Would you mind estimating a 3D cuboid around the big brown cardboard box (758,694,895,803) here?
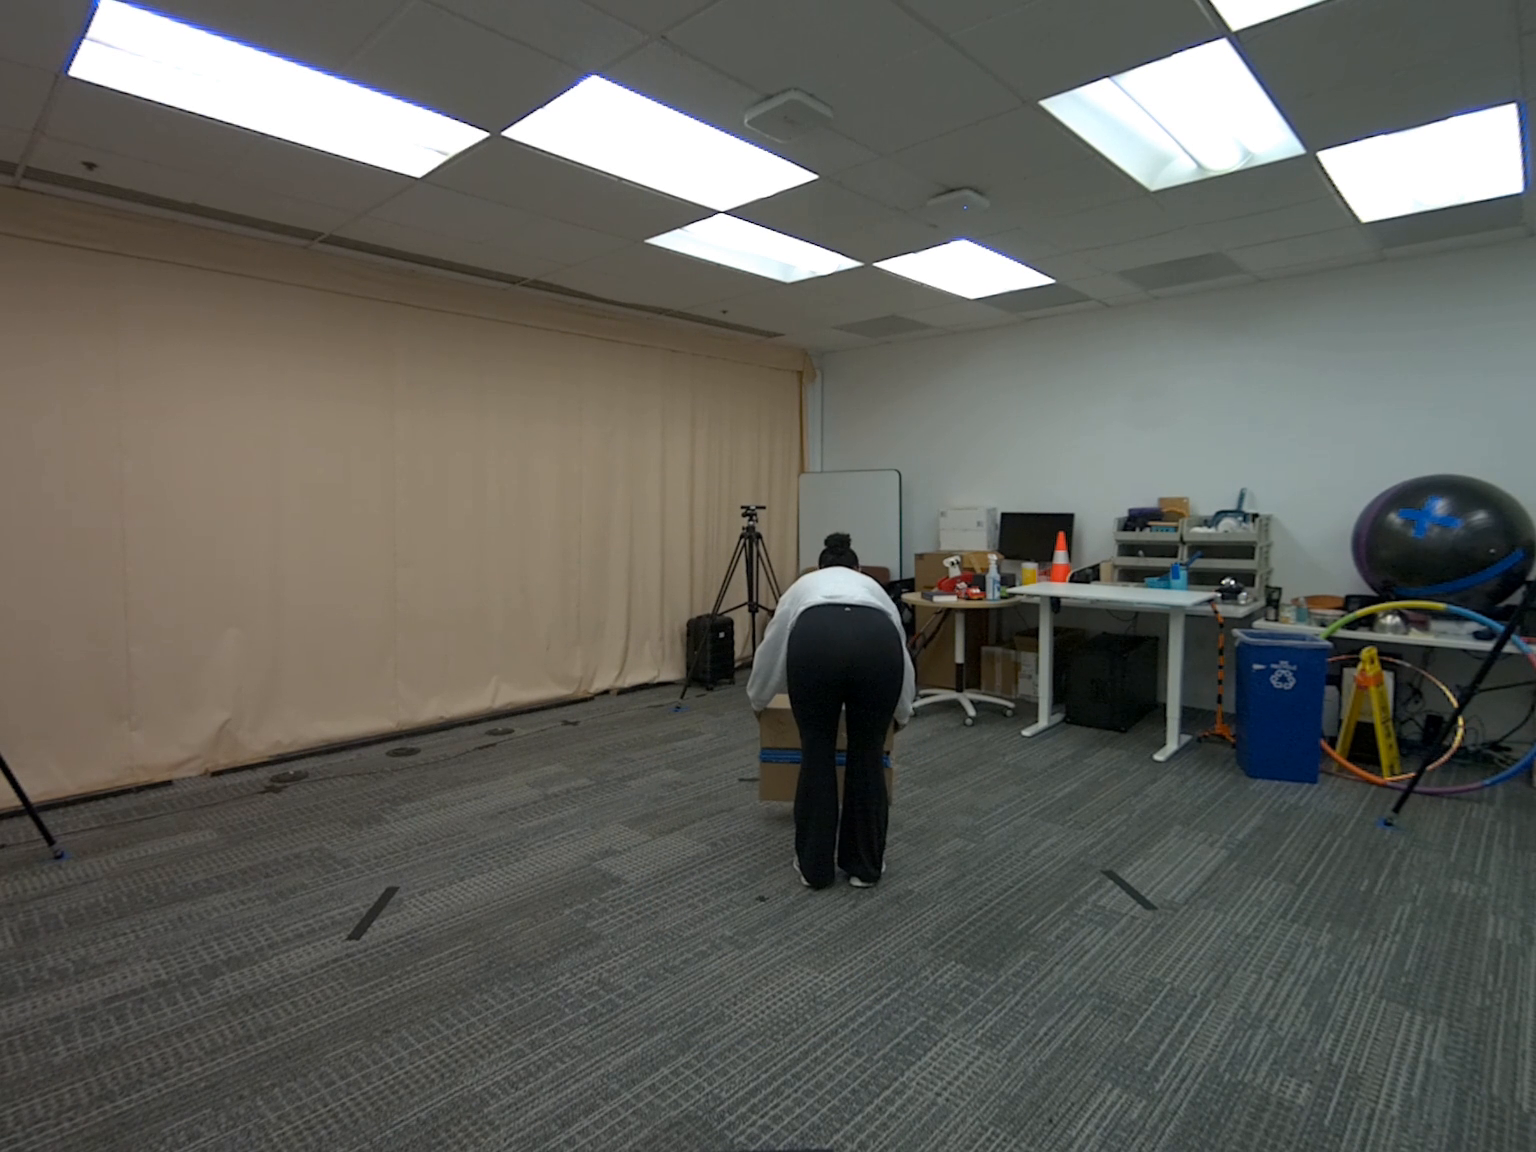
[{"bbox_3d":[0.259,0.748,3.675,0.595,0.416,0.232,0,6,9],"label":"big brown cardboard box"}]
